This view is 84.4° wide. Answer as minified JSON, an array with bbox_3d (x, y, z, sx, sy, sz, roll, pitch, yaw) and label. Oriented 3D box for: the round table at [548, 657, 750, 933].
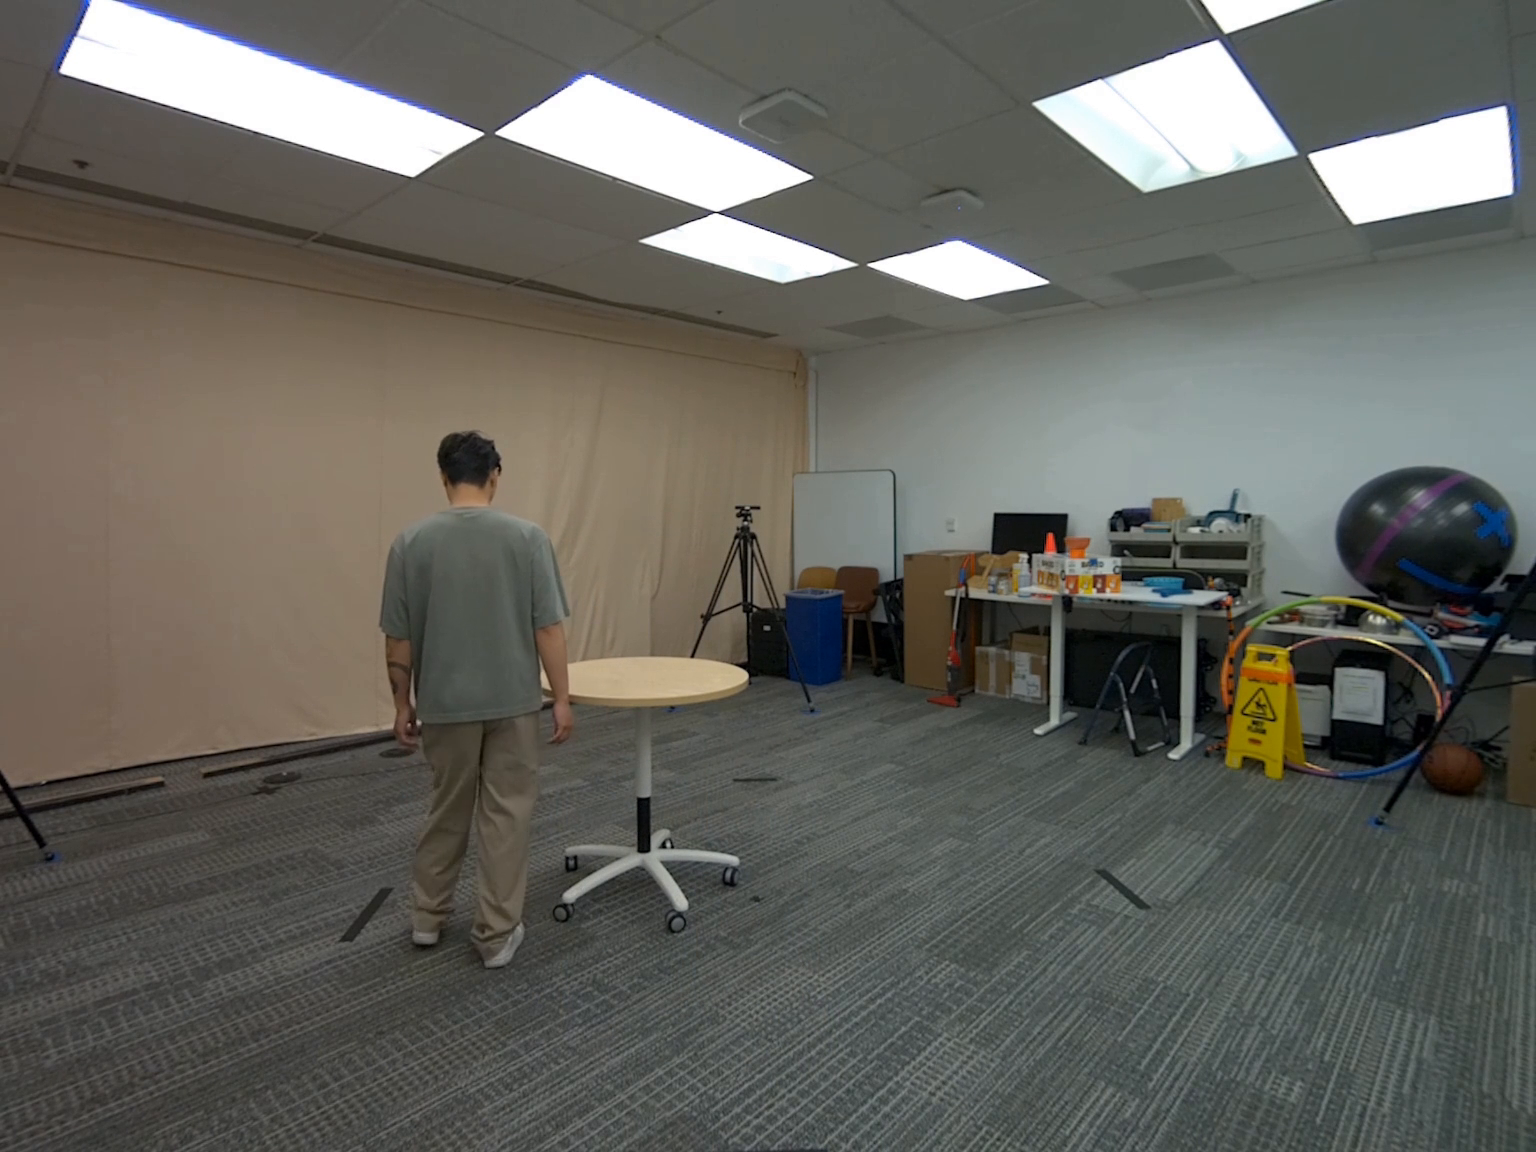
[{"bbox_3d":[-0.441,0.746,3.060,0.784,0.785,0.788,0,3,-2],"label":"round table"}]
